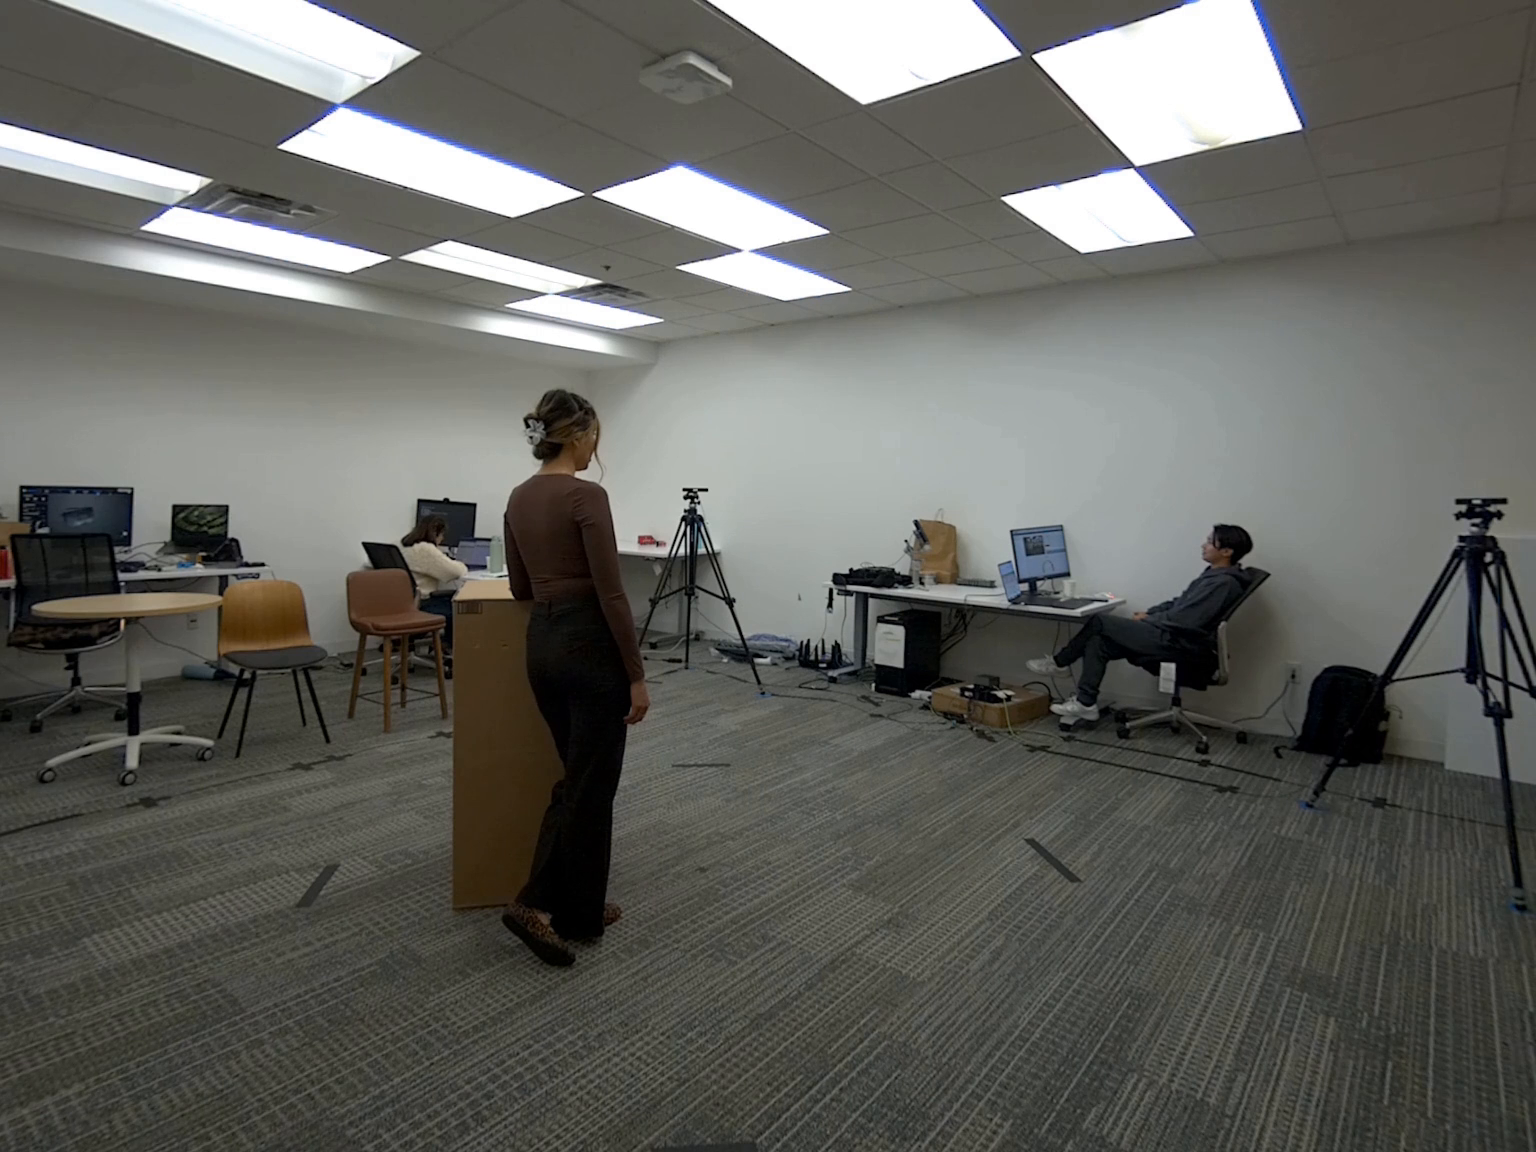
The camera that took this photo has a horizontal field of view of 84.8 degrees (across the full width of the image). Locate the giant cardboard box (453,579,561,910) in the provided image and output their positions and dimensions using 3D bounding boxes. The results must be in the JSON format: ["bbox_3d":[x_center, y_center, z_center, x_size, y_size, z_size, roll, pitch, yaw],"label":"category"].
[{"bbox_3d":[-0.914,0.553,3.080,0.440,1.024,0.595,0,3,-16],"label":"giant cardboard box"}]
